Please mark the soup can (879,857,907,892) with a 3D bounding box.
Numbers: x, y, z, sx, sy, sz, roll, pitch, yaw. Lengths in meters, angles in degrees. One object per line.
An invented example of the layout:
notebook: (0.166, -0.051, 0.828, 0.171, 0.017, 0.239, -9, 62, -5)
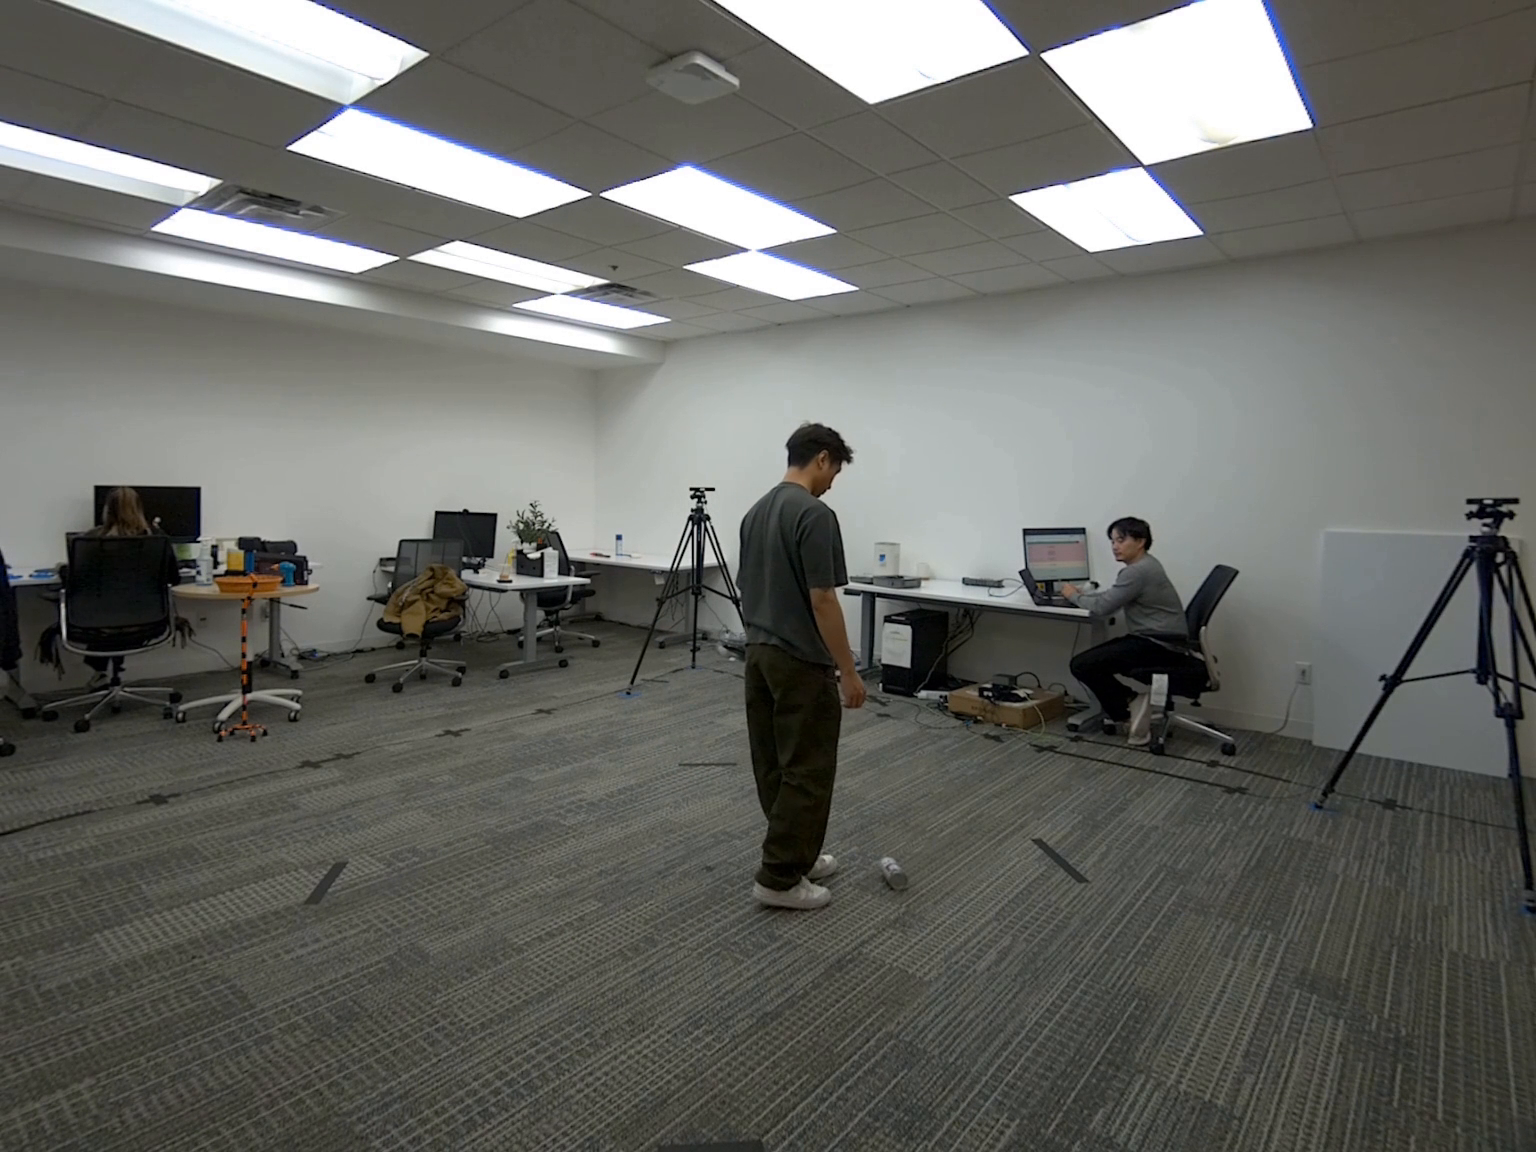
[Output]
soup can: (0.438, 1.056, 3.029, 0.066, 0.066, 0.123, 0, 9, -8)
